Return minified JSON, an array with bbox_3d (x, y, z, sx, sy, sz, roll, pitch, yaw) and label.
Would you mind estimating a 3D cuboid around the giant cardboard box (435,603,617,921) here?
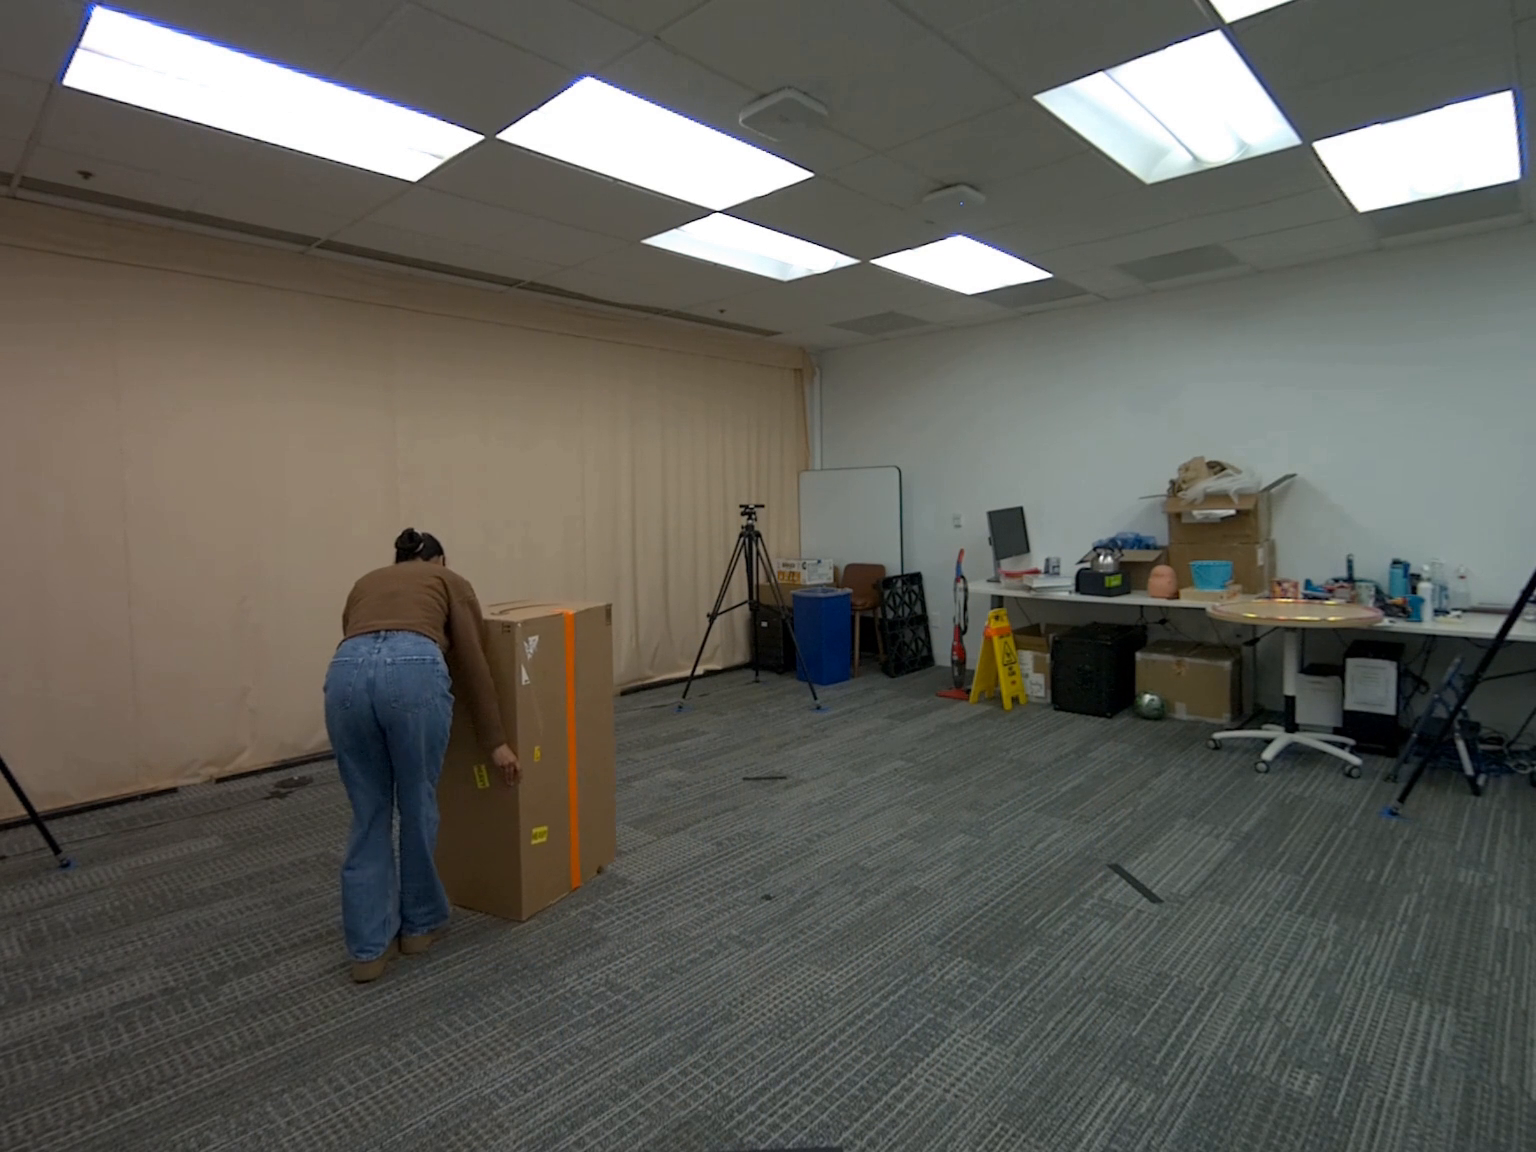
[{"bbox_3d":[-0.905,0.638,3.167,0.437,1.024,0.563,1,3,25],"label":"giant cardboard box"}]
